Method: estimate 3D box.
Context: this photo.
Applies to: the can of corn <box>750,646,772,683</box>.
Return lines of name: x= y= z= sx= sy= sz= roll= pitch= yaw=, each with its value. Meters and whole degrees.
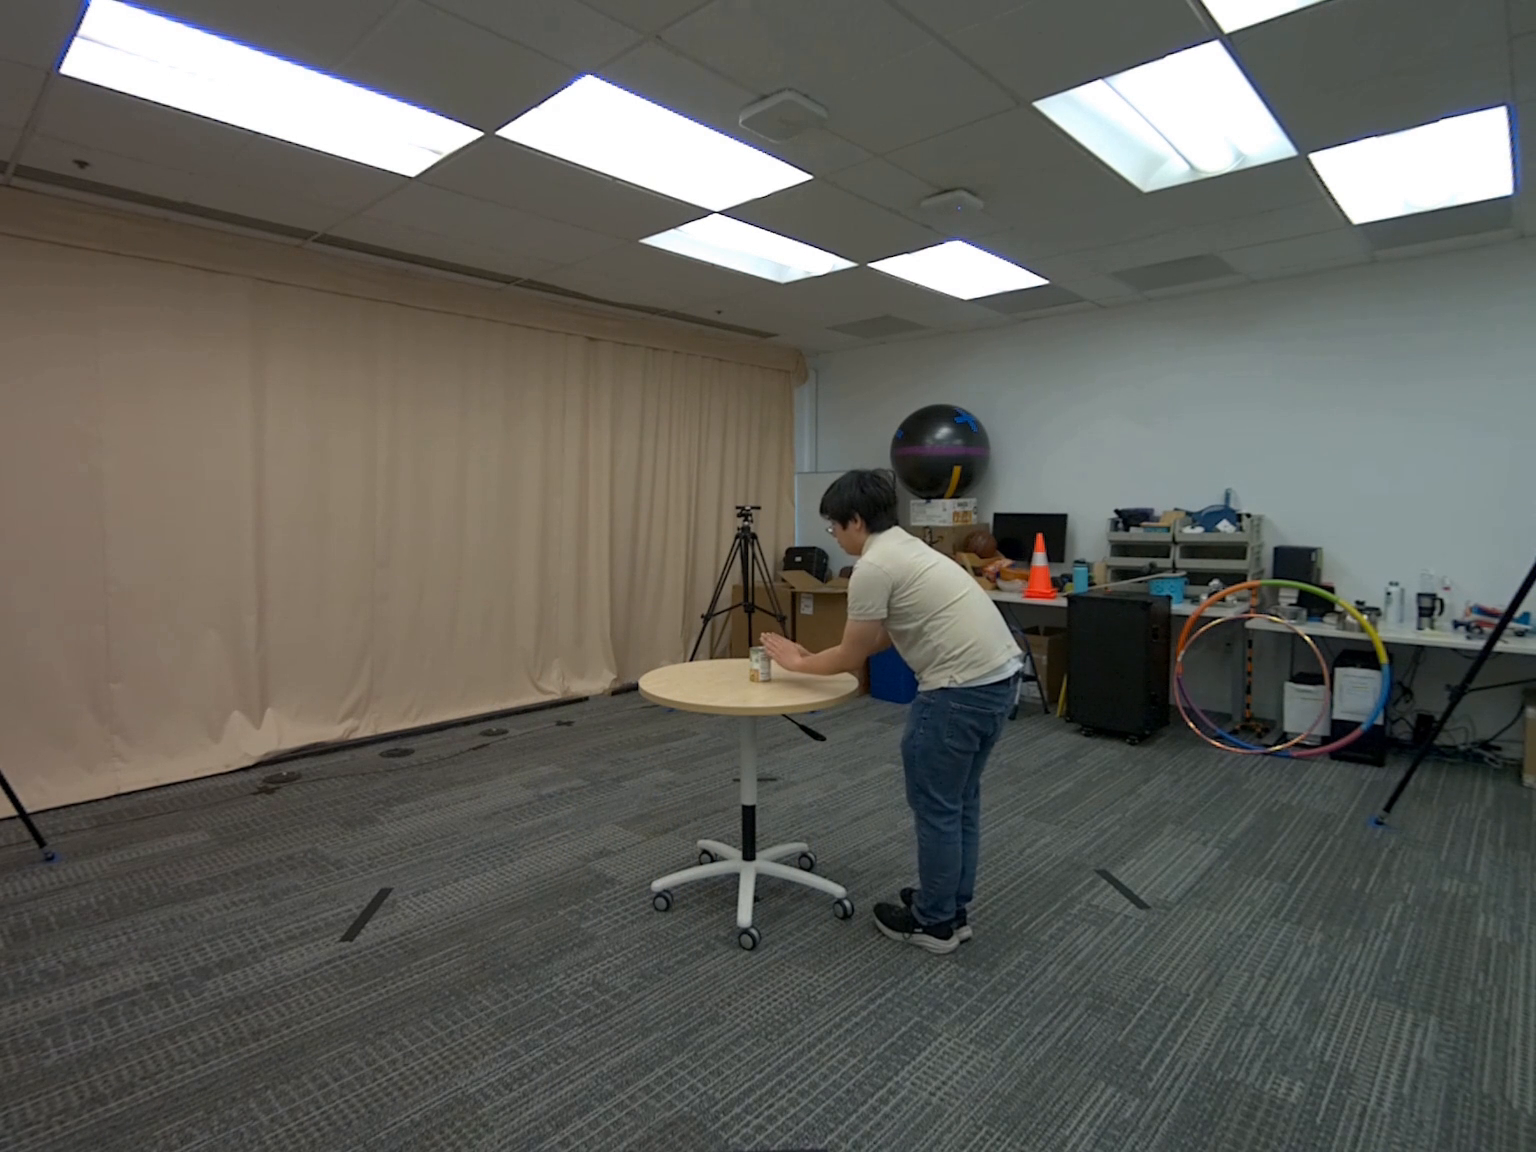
can of corn: x=-0.023 y=0.315 z=2.940 sx=0.074 sy=0.110 sz=0.074 roll=2 pitch=6 yaw=-2
